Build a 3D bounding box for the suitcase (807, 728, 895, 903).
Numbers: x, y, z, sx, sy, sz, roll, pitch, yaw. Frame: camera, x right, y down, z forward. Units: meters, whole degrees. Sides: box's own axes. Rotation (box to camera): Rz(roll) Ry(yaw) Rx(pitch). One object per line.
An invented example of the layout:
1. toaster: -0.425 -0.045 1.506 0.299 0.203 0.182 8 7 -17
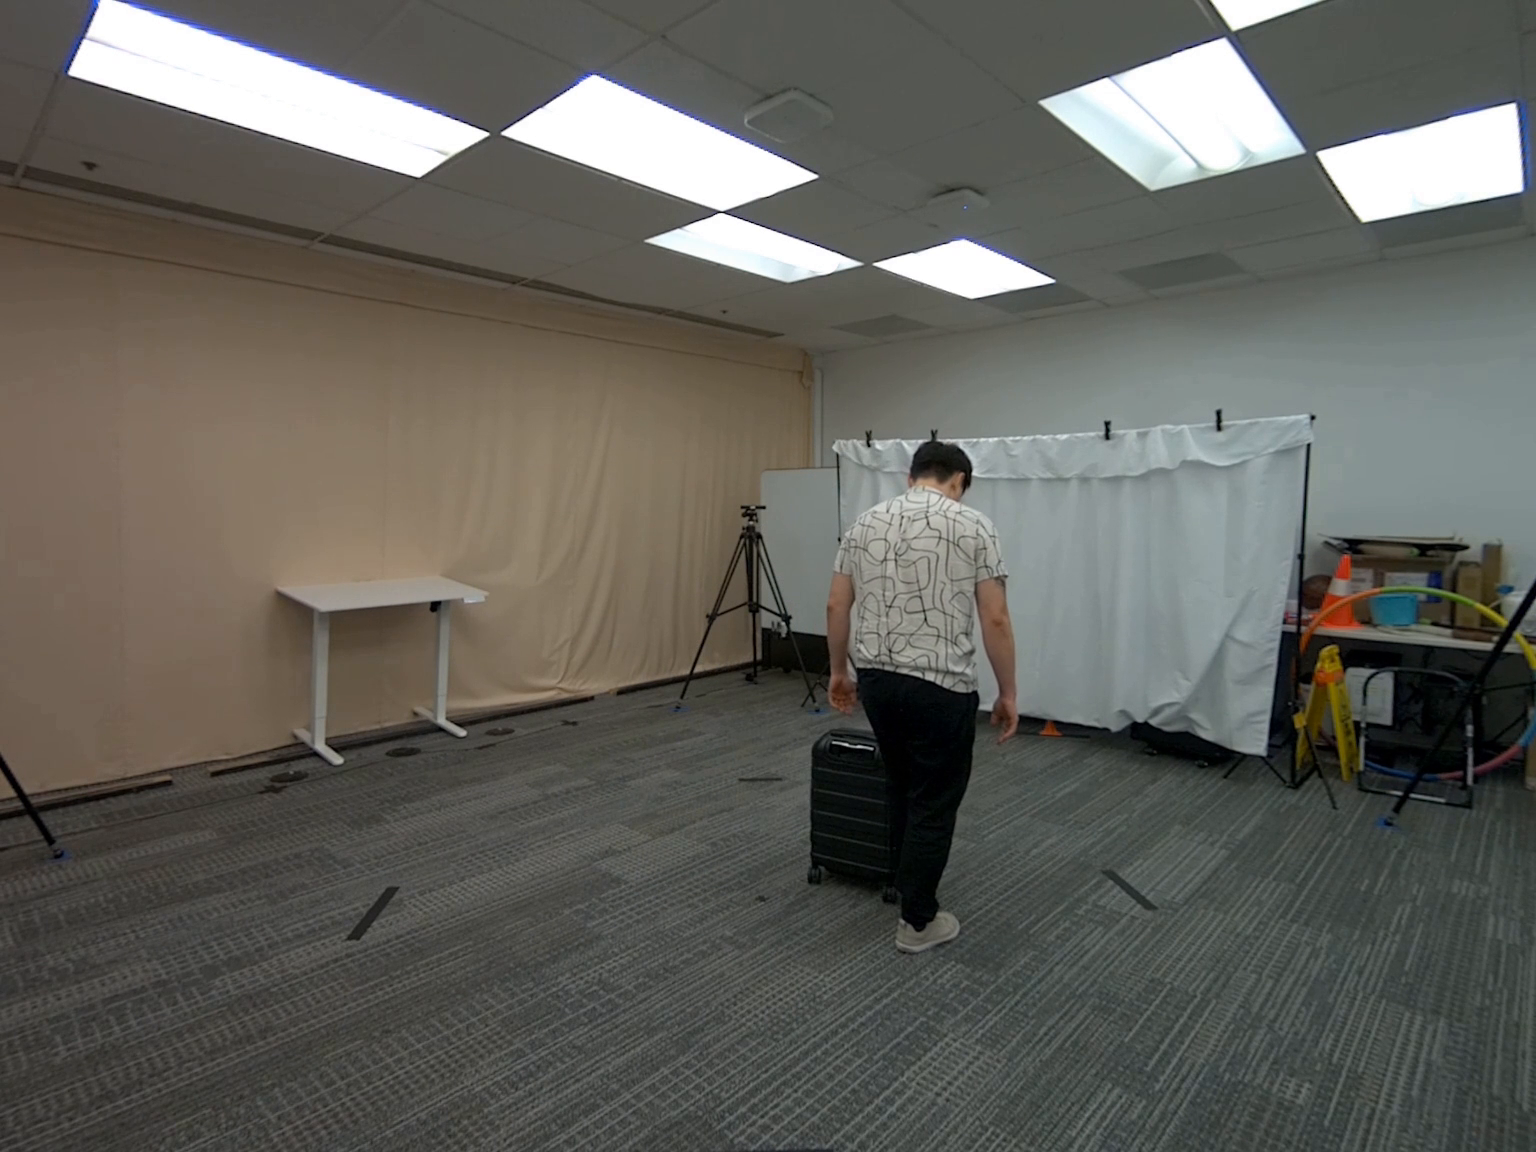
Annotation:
1. suitcase: 0.354 0.853 3.128 0.386 0.549 0.241 1 1 31
